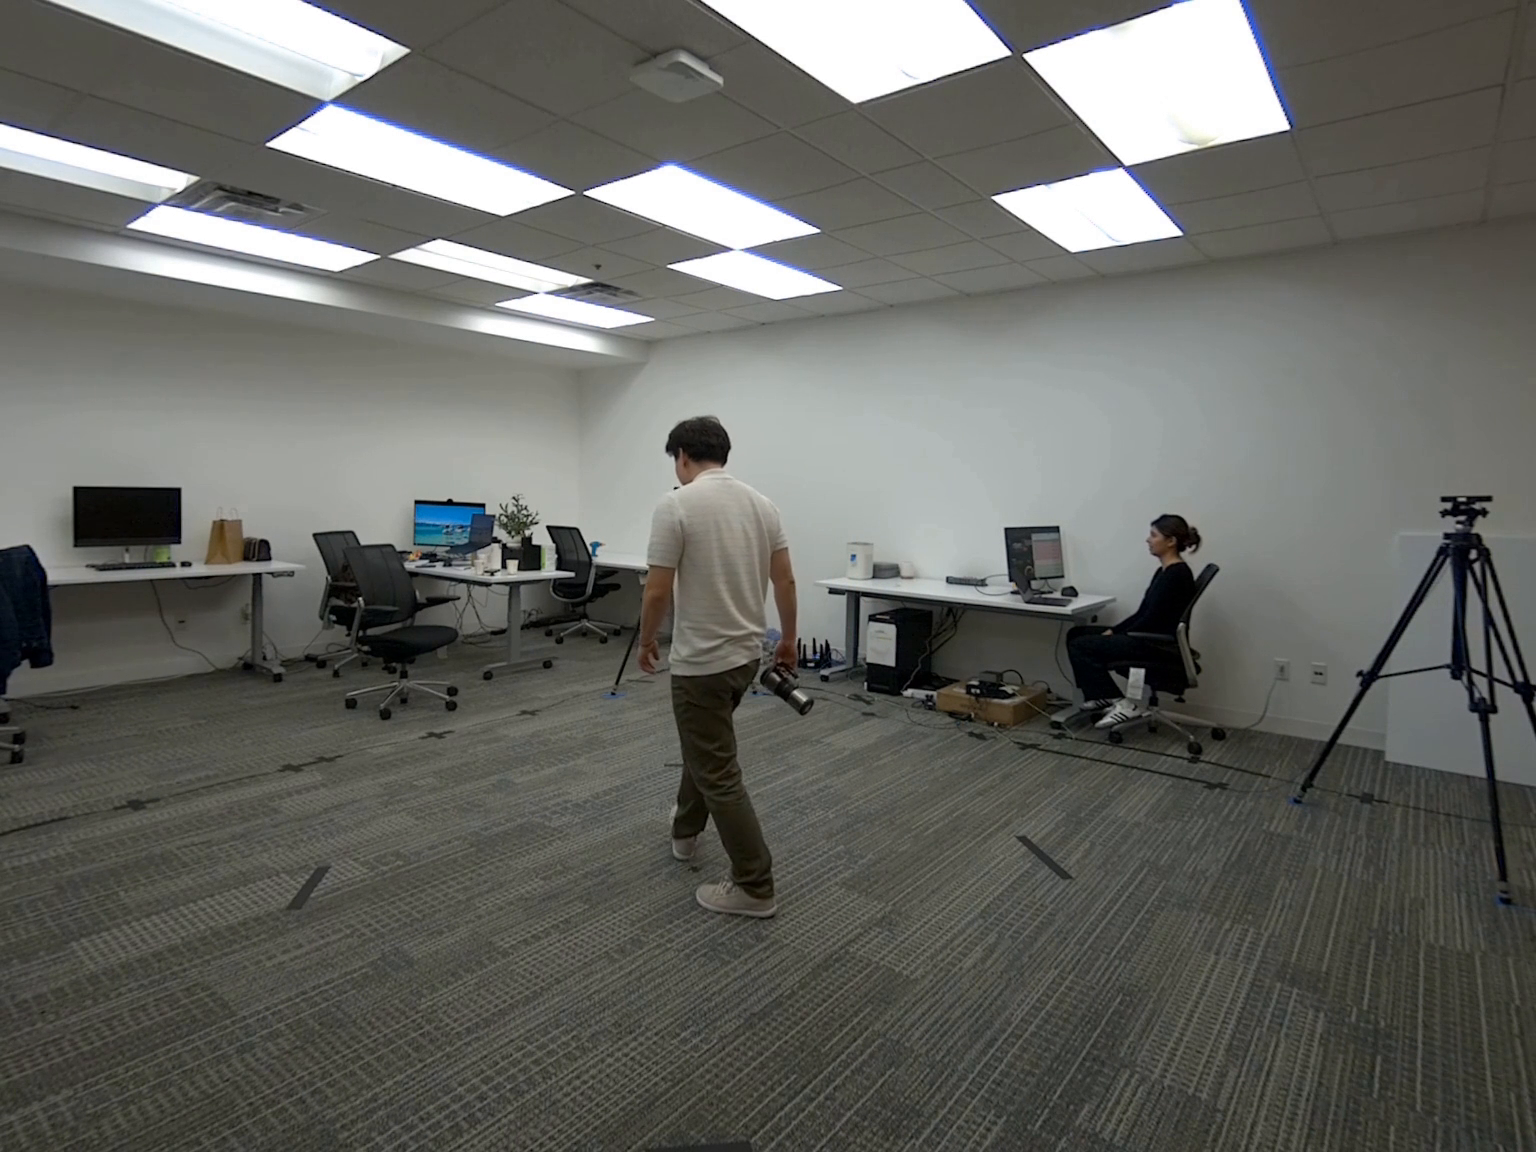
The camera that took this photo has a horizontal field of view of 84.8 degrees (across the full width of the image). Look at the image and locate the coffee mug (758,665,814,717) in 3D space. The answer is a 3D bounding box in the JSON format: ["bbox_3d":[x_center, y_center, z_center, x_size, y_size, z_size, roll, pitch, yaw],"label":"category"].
[{"bbox_3d":[0.065,0.401,3.083,0.211,0.120,0.085,36,30,32],"label":"coffee mug"}]
